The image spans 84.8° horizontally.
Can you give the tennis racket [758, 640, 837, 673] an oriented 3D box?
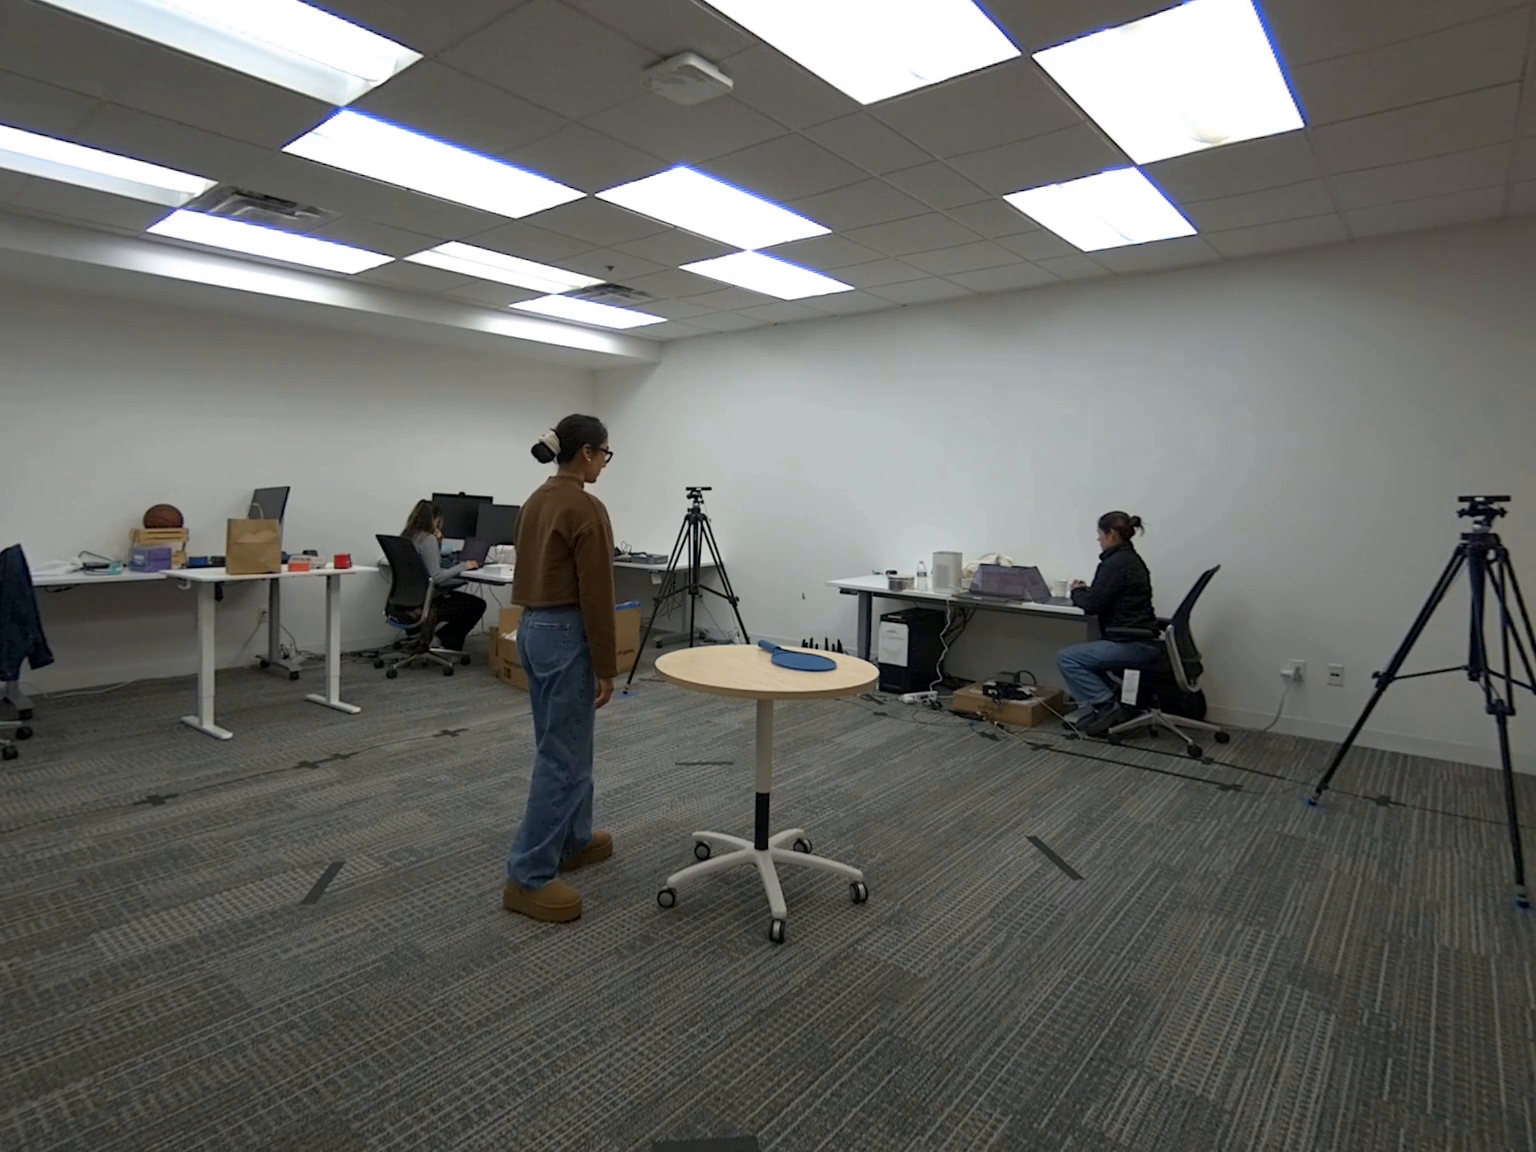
[{"bbox_3d":[0.070,0.287,3.028,0.208,0.031,0.447,-1,8,-31],"label":"tennis racket"}]
